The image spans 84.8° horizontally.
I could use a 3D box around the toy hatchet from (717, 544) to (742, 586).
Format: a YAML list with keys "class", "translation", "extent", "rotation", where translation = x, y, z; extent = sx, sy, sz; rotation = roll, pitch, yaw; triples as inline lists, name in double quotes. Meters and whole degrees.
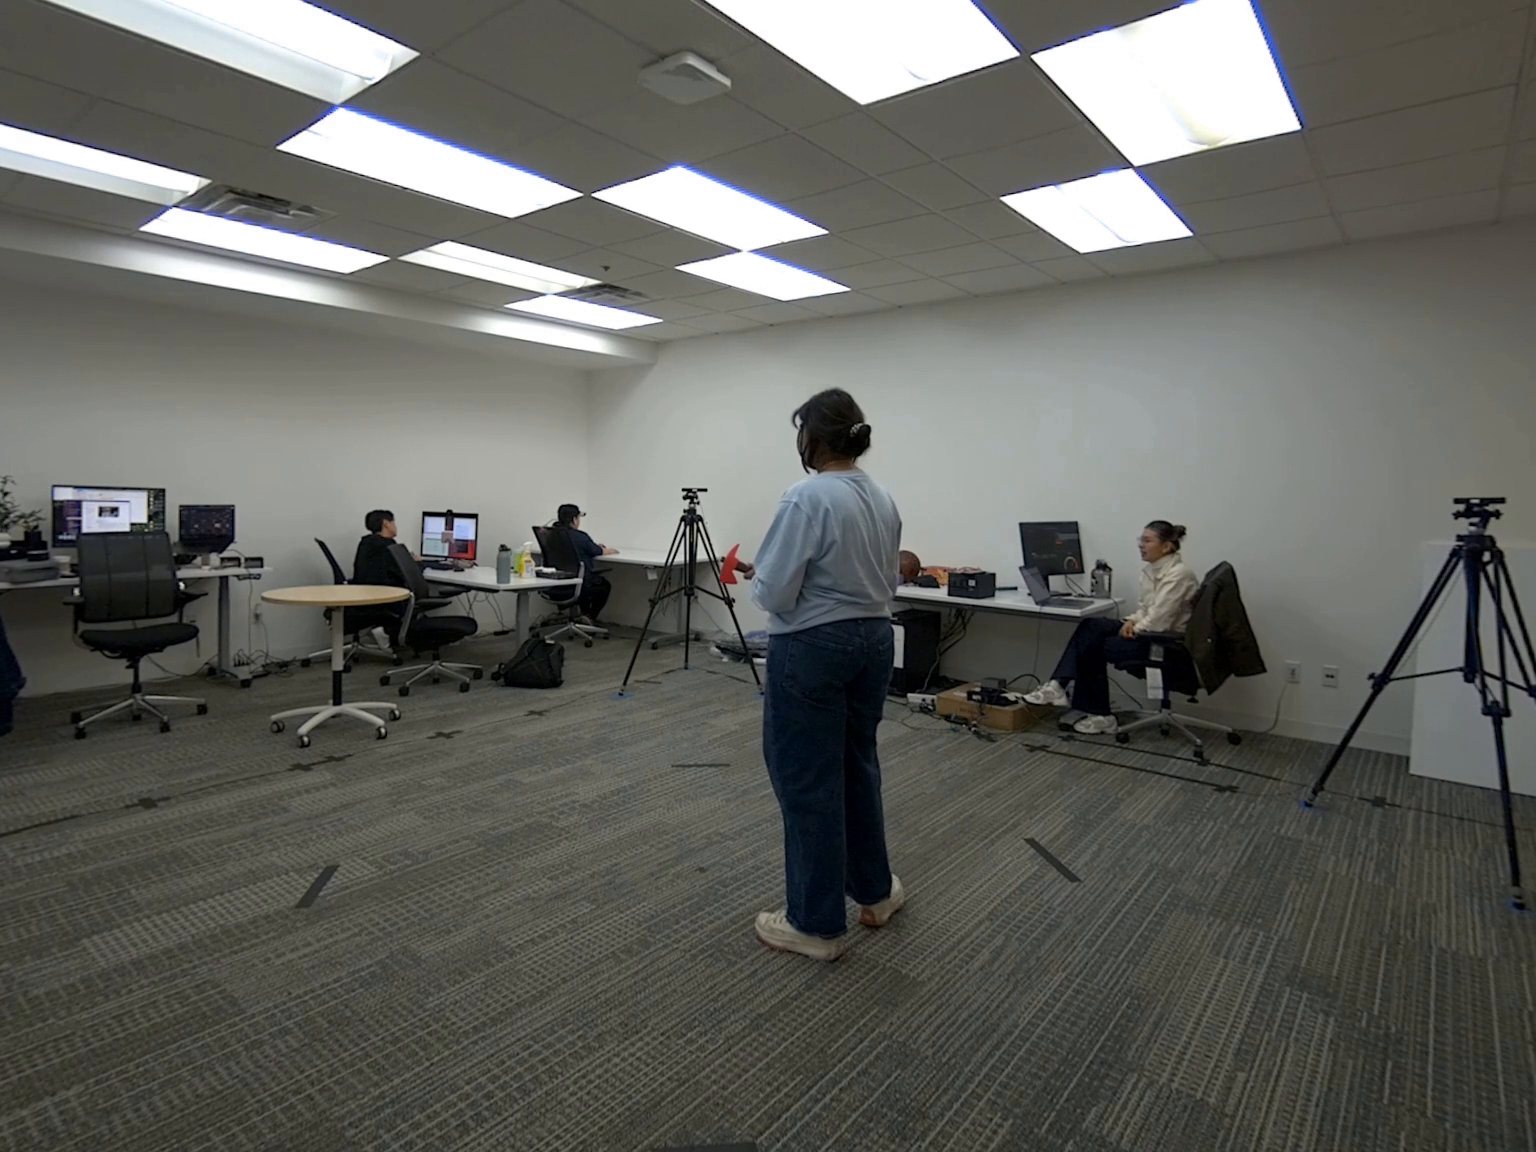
- class: "toy hatchet"
  translation: [-0.047, 0.020, 2.747]
  extent: [0.267, 0.131, 0.030]
  rotation: [41, 6, -7]
